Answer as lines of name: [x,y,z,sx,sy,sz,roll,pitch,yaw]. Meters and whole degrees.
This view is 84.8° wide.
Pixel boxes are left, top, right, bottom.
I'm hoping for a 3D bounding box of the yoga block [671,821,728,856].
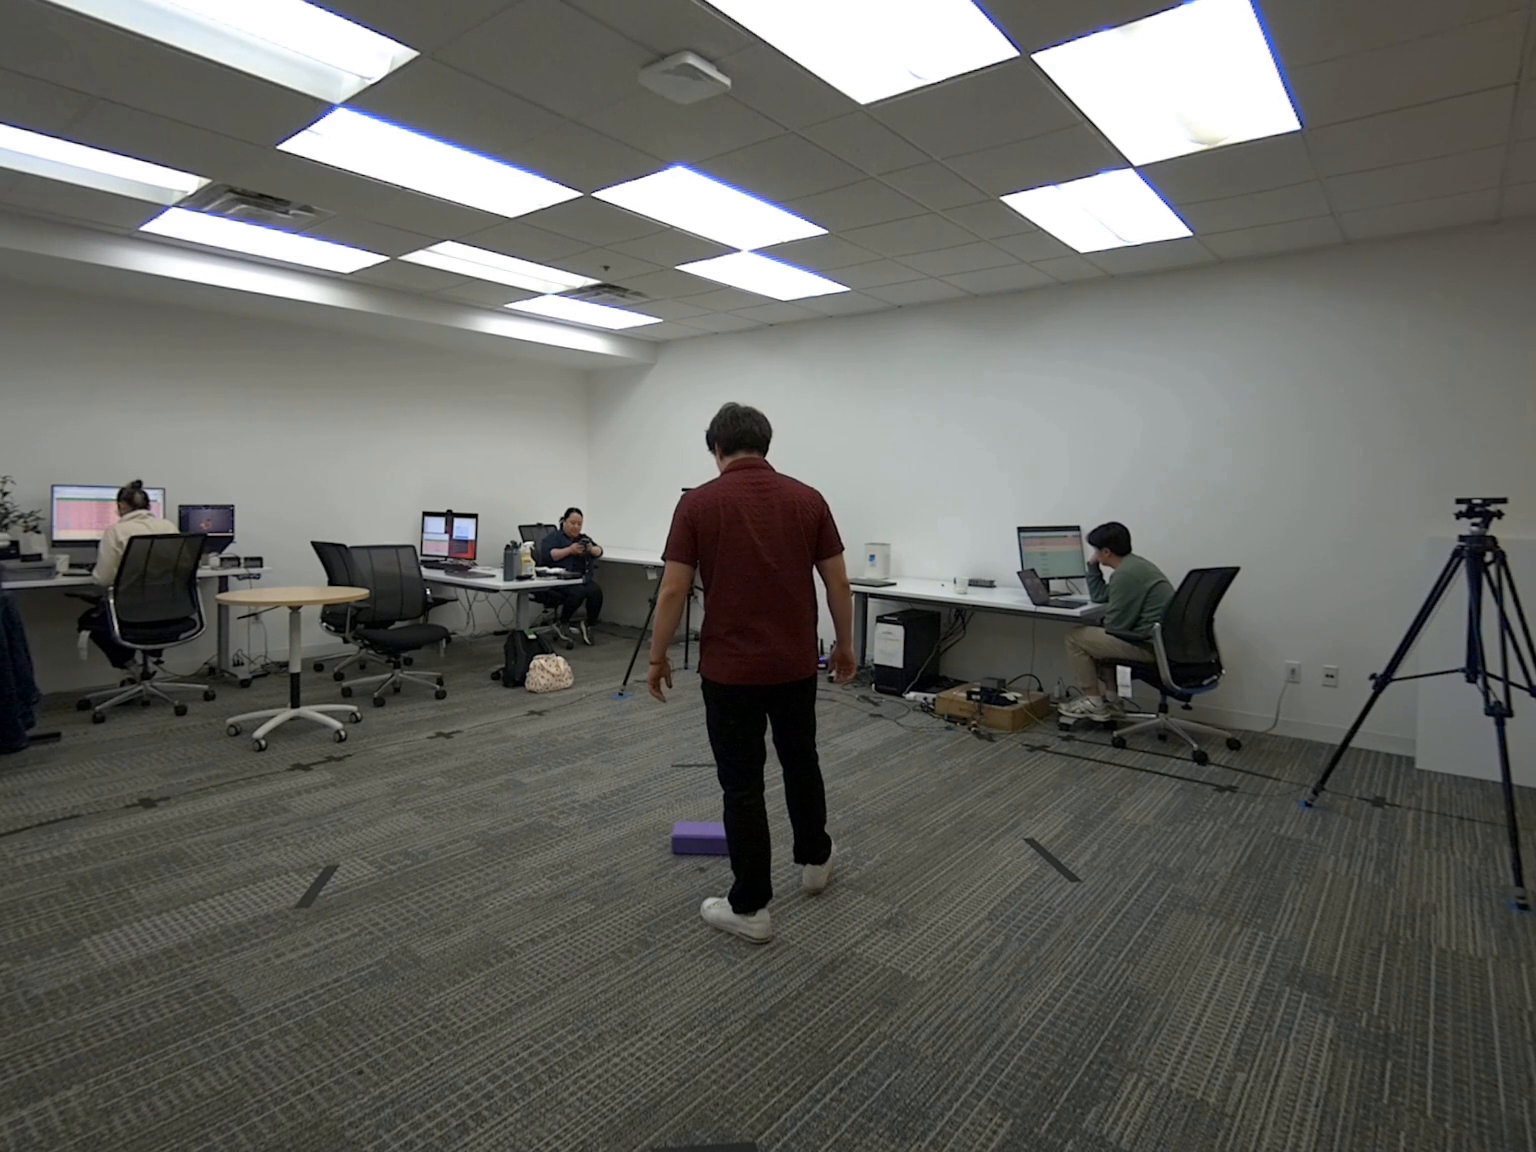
yoga block: [-0.268,1.008,3.295,0.230,0.076,0.149,2,6,3]
